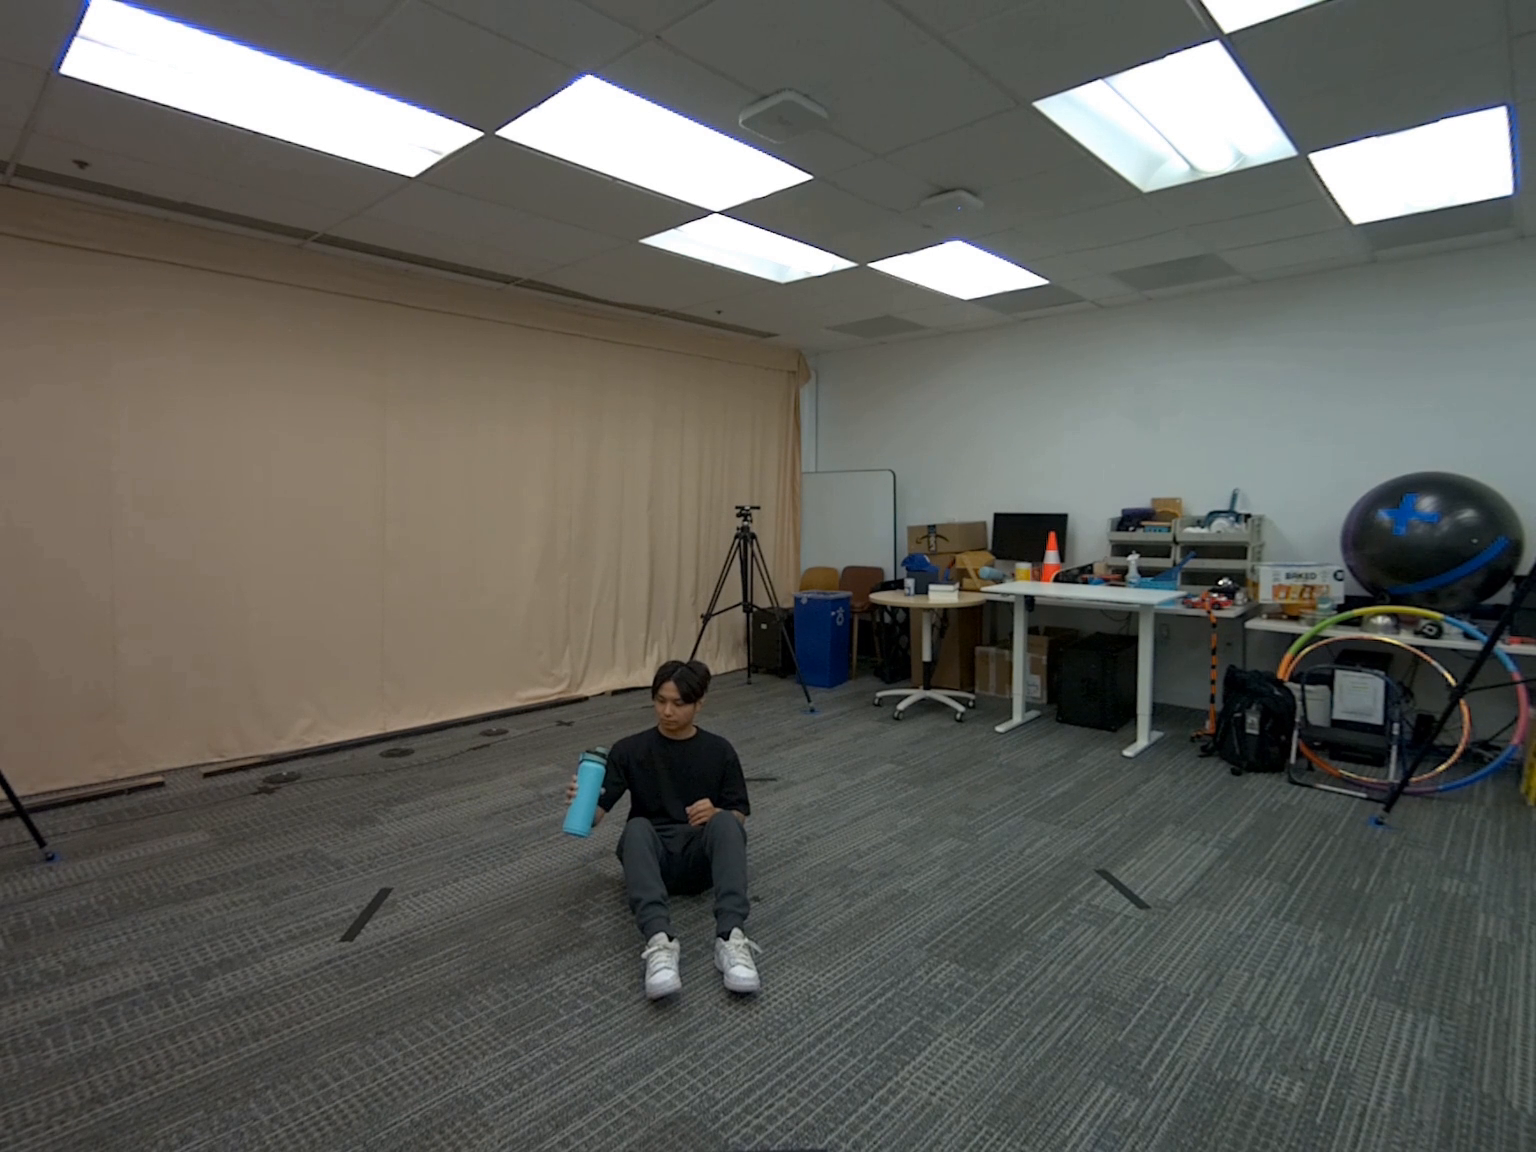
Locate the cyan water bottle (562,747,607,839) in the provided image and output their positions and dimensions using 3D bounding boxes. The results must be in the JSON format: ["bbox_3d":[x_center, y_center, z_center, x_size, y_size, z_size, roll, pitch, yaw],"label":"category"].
[{"bbox_3d":[-0.596,0.708,2.758,0.092,0.286,0.091,8,-22,1],"label":"cyan water bottle"}]
